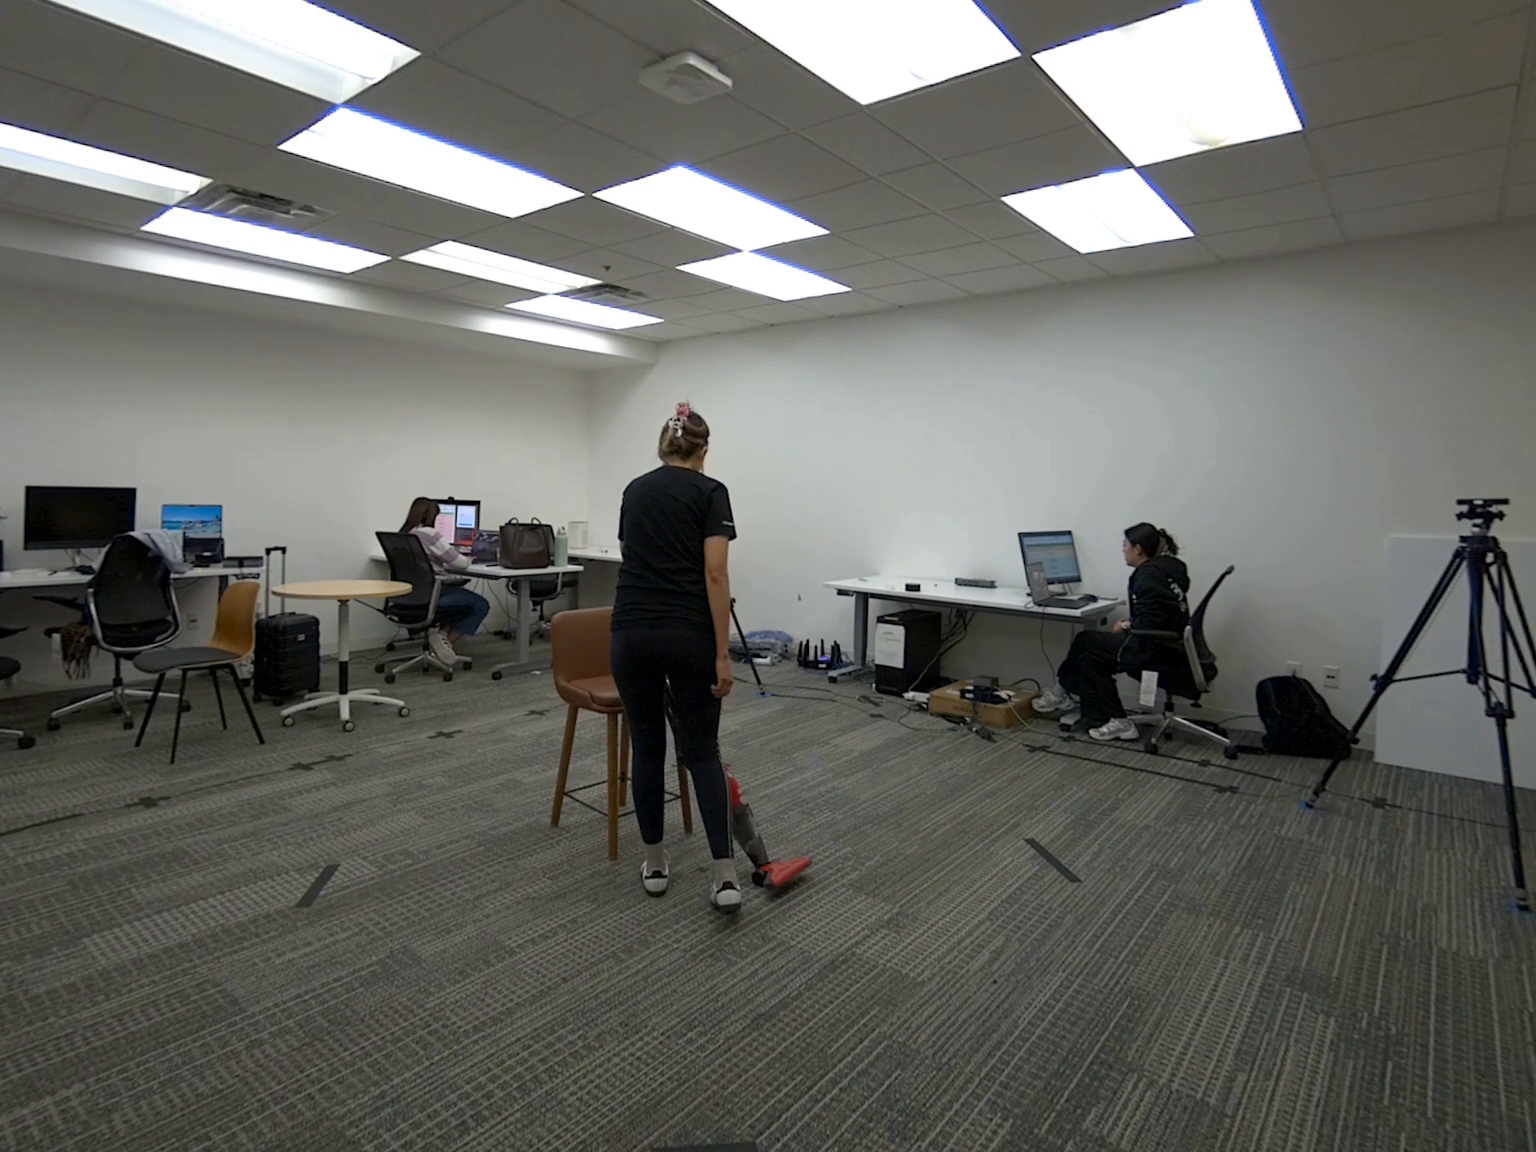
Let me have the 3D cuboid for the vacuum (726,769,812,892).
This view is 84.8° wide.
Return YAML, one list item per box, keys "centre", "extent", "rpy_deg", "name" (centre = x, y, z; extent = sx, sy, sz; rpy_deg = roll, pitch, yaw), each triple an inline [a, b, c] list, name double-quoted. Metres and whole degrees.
- centre: [-0.253, 0.655, 3.202]
  extent: [0.144, 1.080, 0.245]
  rpy_deg: [-48, -23, 27]
  name: "vacuum"
